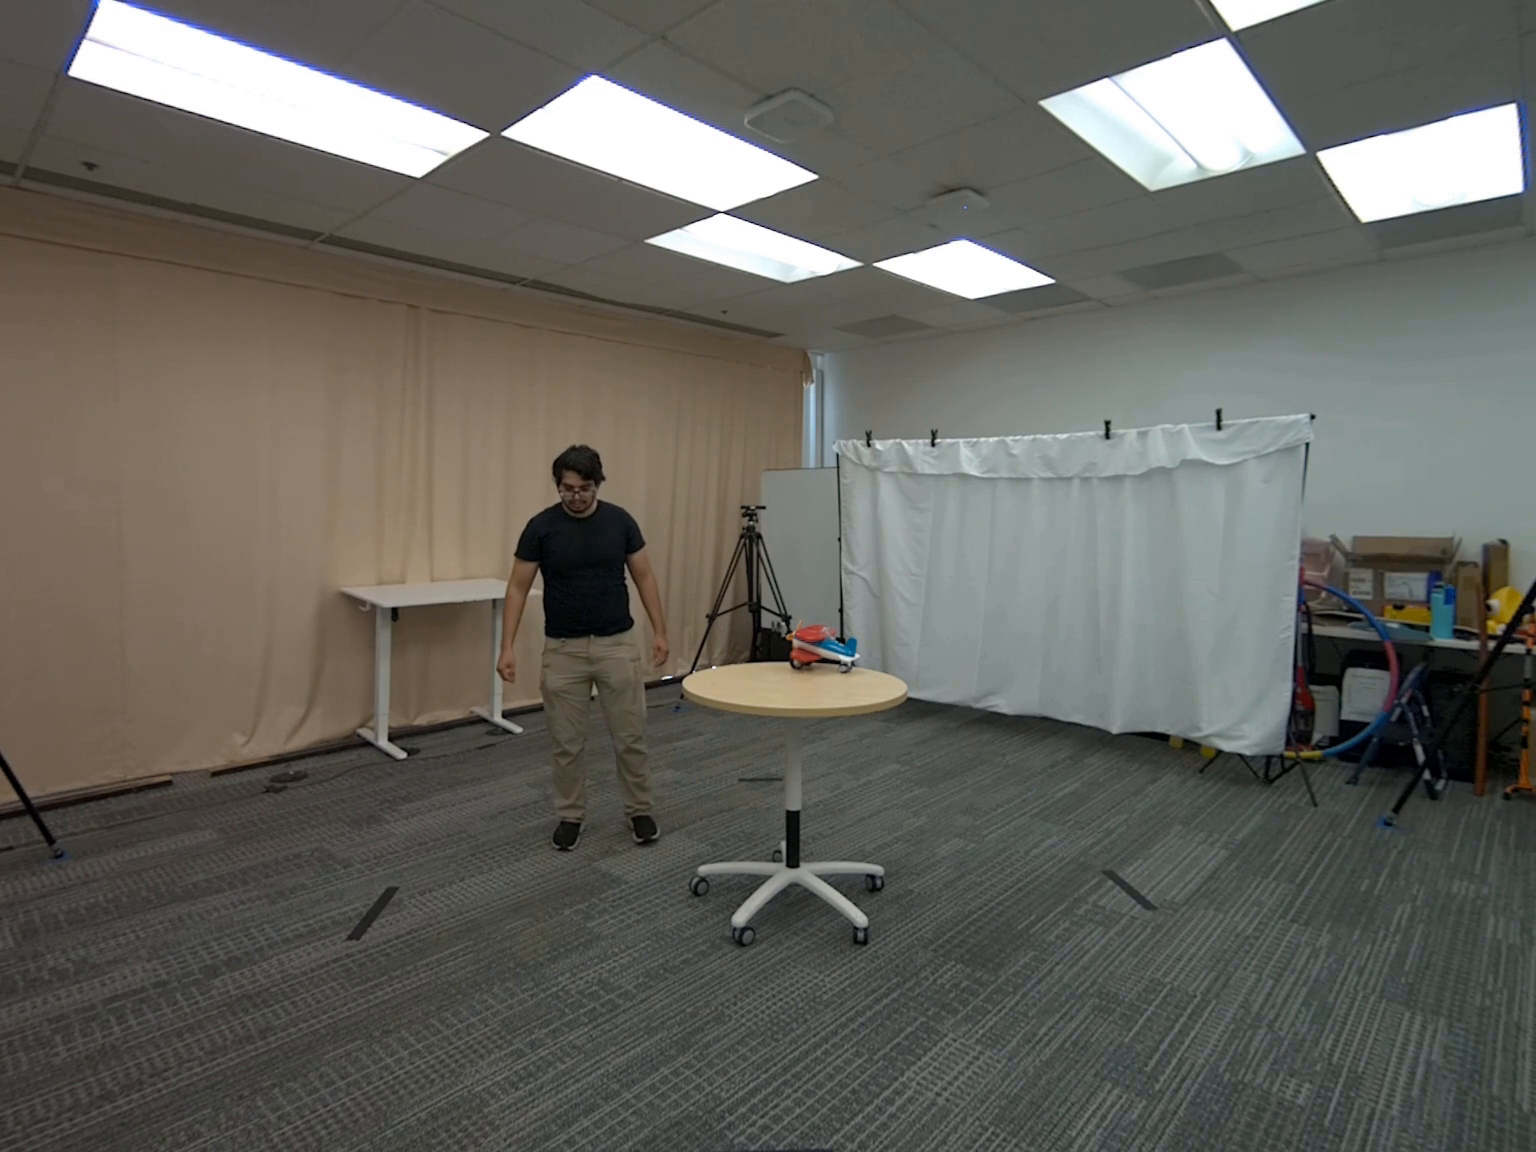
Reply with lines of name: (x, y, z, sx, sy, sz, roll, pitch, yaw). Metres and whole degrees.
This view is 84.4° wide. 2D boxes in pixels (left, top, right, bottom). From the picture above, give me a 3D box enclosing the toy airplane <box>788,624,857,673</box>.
toy airplane: (0.212, 0.271, 3.141, 0.260, 0.156, 0.251, -1, 4, 0)
